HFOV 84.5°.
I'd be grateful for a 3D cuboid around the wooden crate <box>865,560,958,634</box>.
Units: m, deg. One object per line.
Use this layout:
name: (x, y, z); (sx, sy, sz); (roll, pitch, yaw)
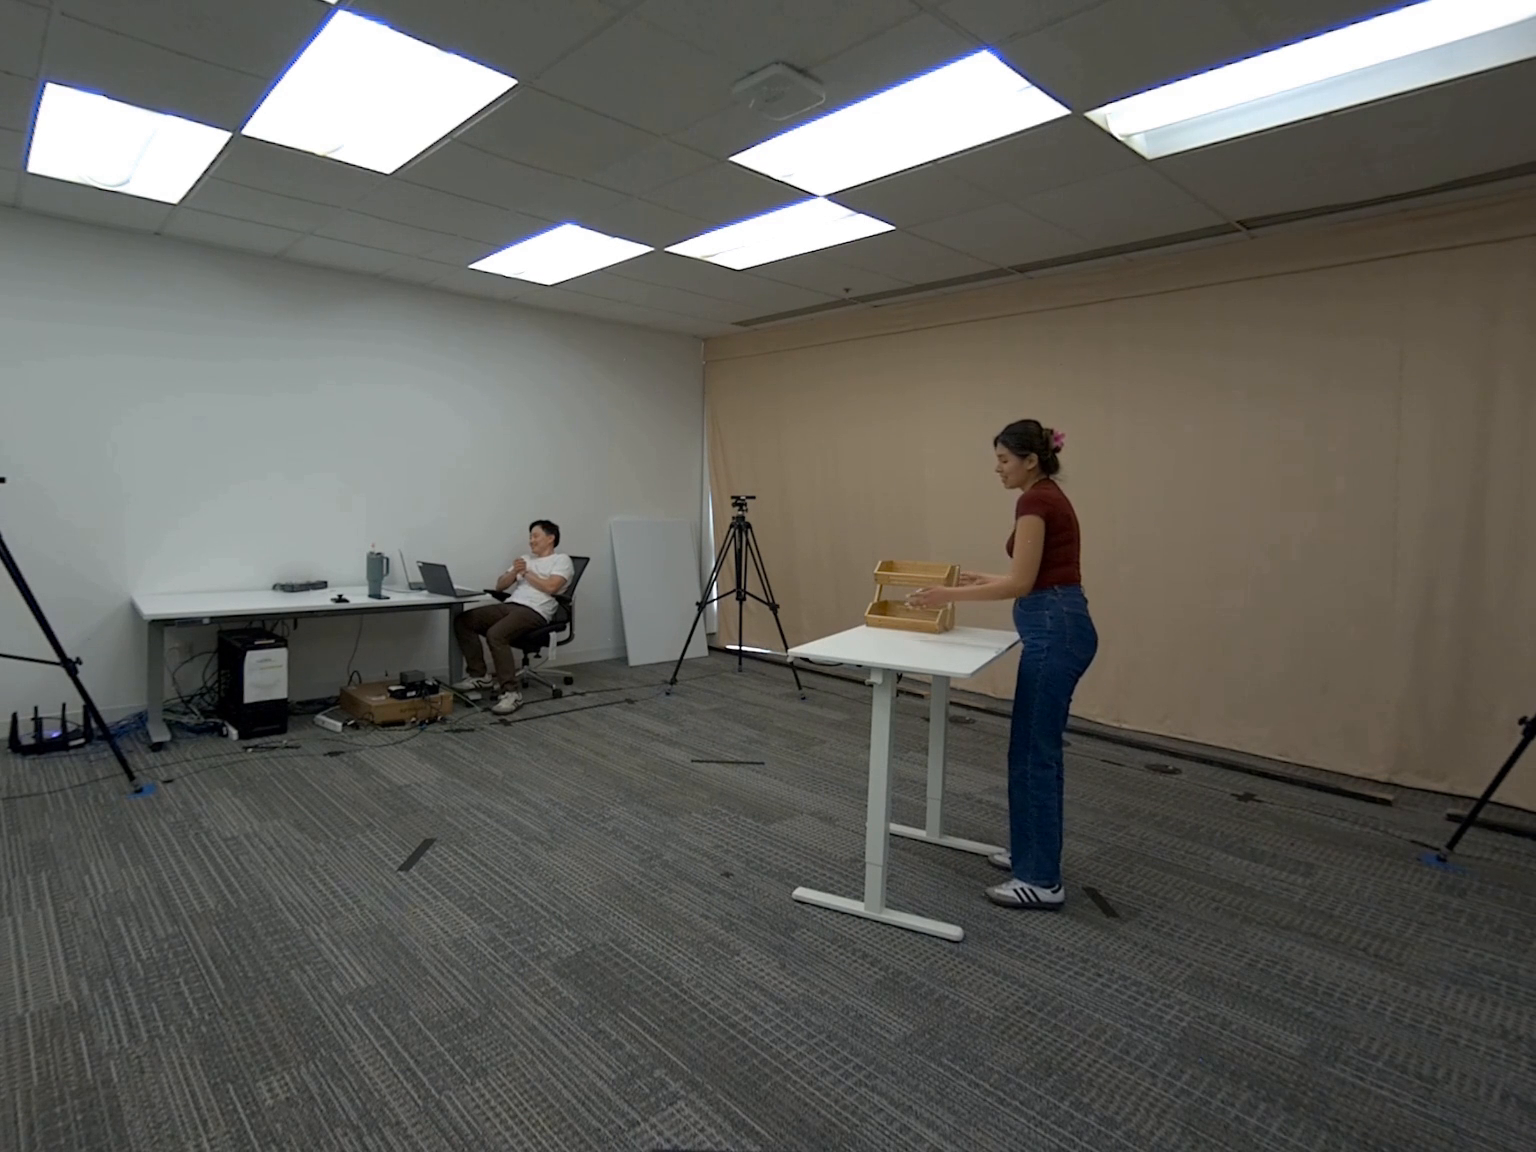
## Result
wooden crate: (0.592, 0.076, 3.462); (0.331, 0.273, 0.296); (4, 4, 28)
